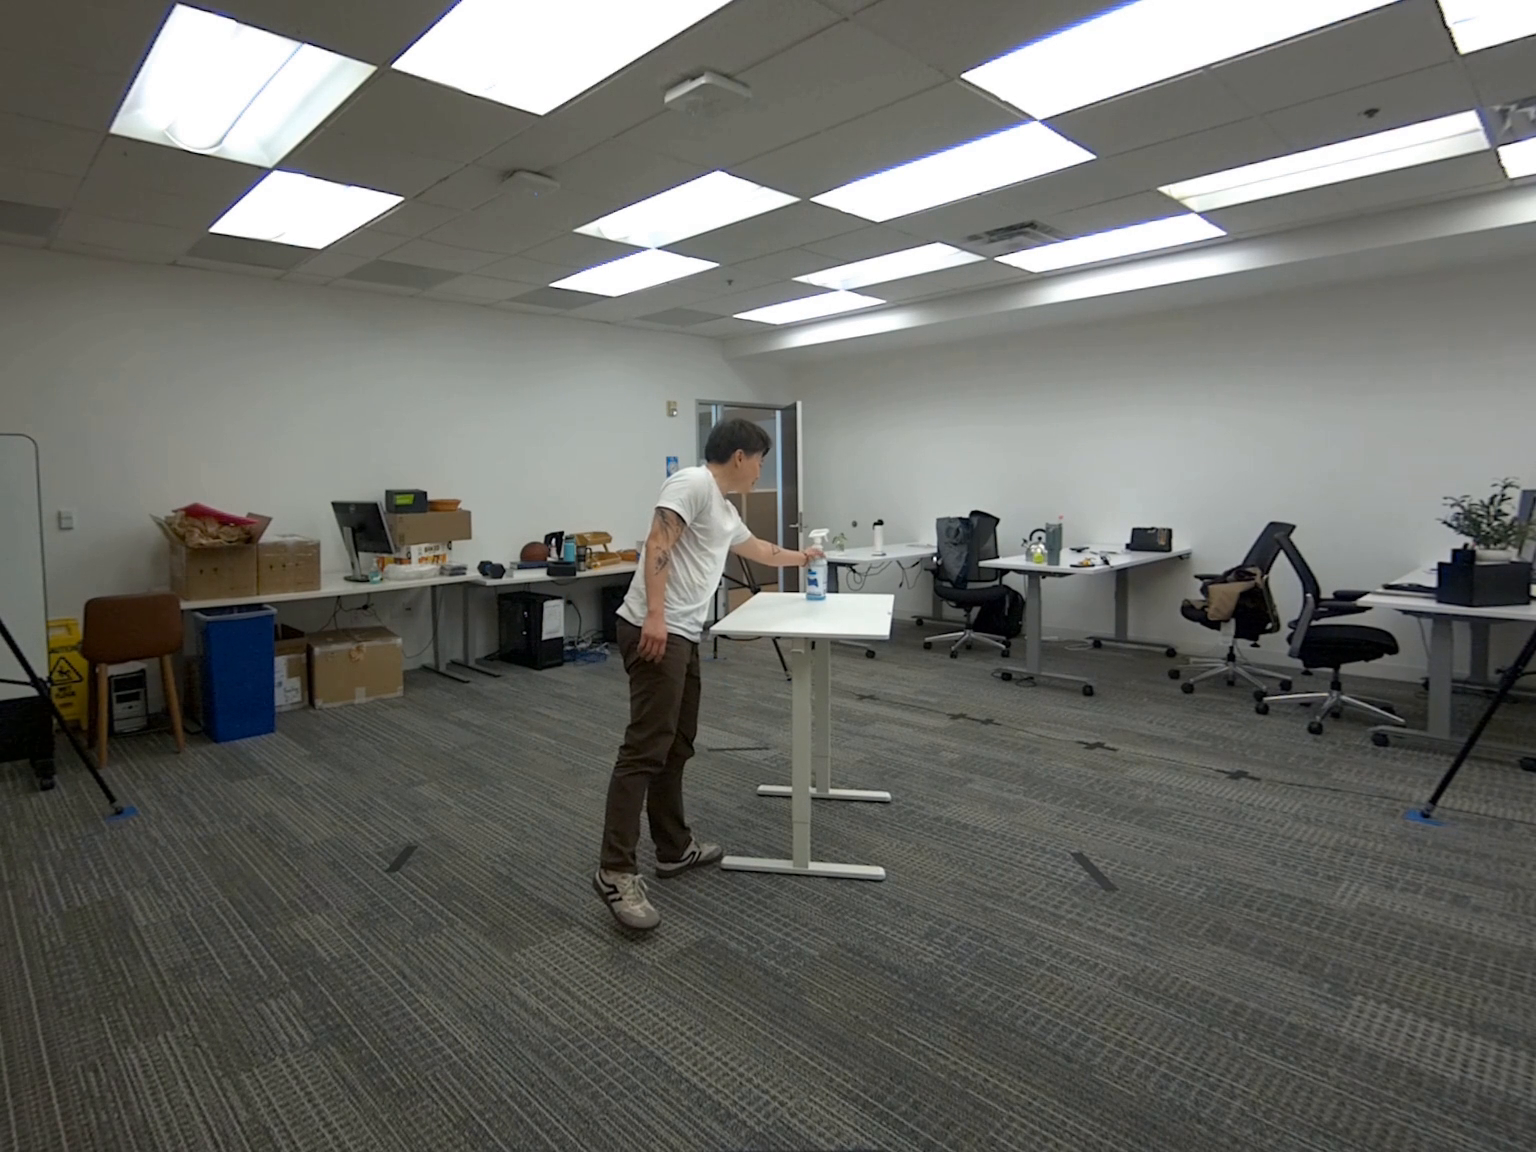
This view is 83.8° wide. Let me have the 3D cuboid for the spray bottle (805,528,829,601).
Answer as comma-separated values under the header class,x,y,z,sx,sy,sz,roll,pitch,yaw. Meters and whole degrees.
class,x,y,z,sx,sy,sz,roll,pitch,yaw
spray bottle,0.206,-0.051,3.618,0.090,0.296,0.087,2,6,5
